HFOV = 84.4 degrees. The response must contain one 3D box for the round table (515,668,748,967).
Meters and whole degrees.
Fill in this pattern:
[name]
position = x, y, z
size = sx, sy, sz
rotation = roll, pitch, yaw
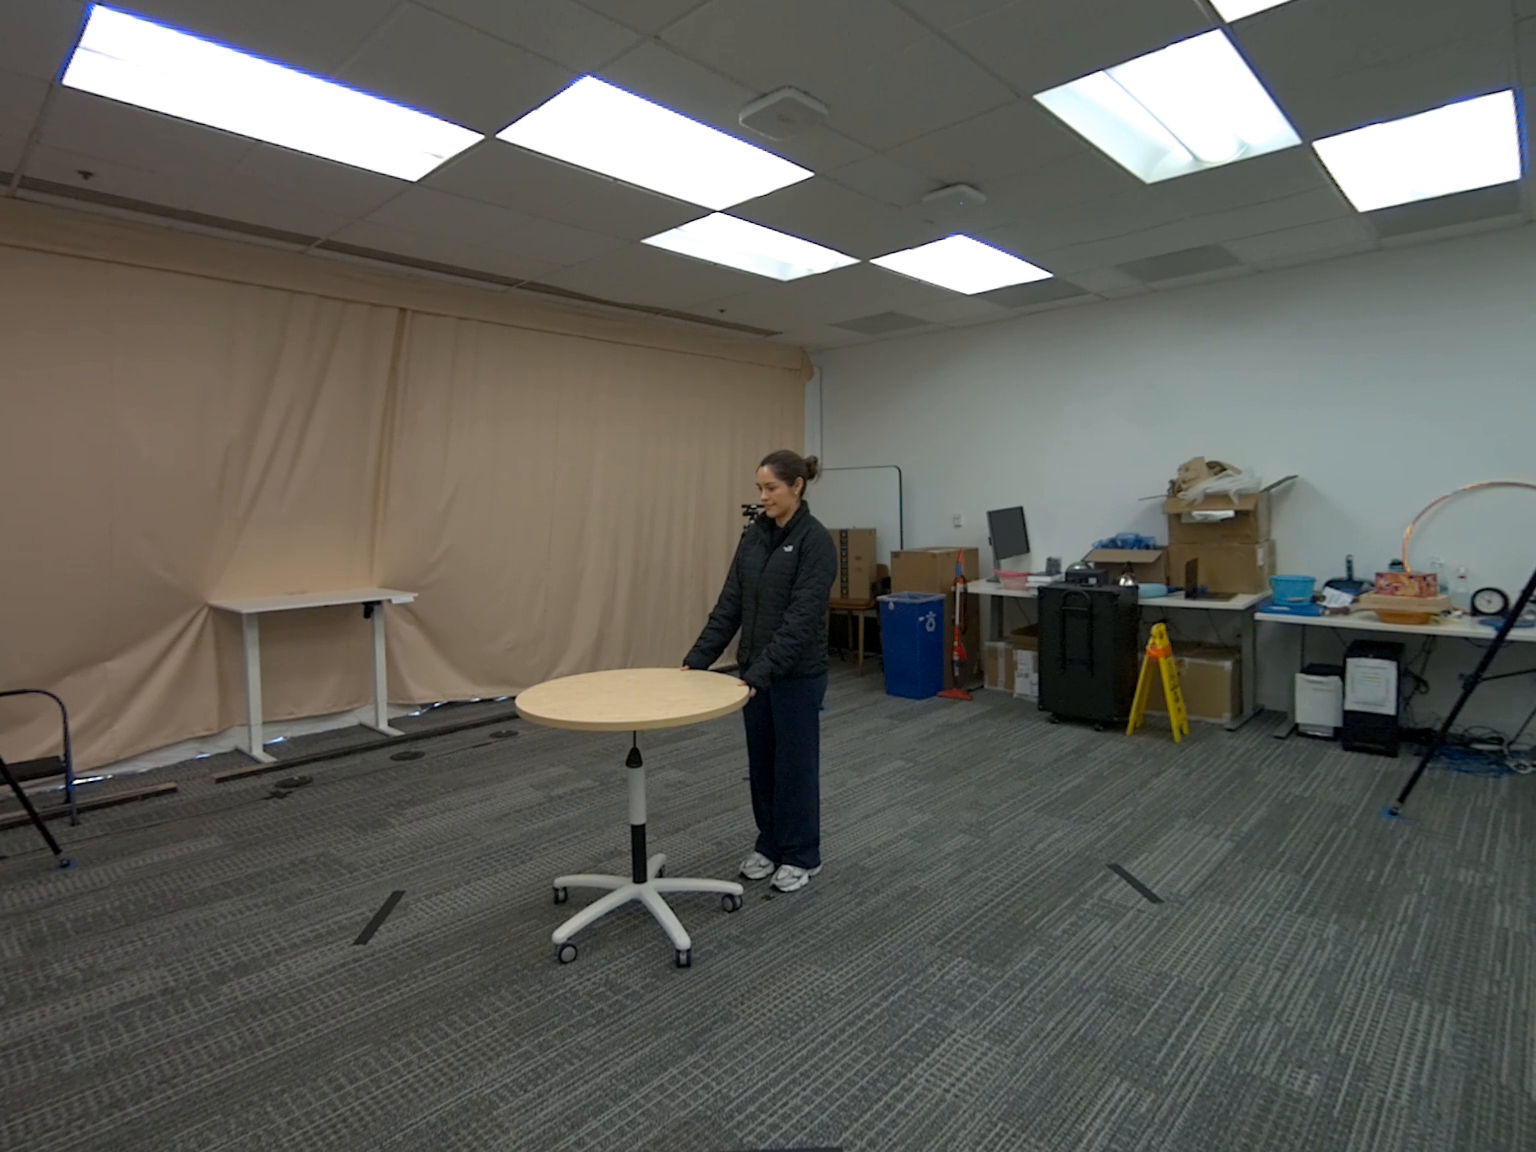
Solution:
[round table]
position = -0.410, 0.771, 2.807
size = 0.784, 0.784, 0.788
rotation = -2, 4, -2
